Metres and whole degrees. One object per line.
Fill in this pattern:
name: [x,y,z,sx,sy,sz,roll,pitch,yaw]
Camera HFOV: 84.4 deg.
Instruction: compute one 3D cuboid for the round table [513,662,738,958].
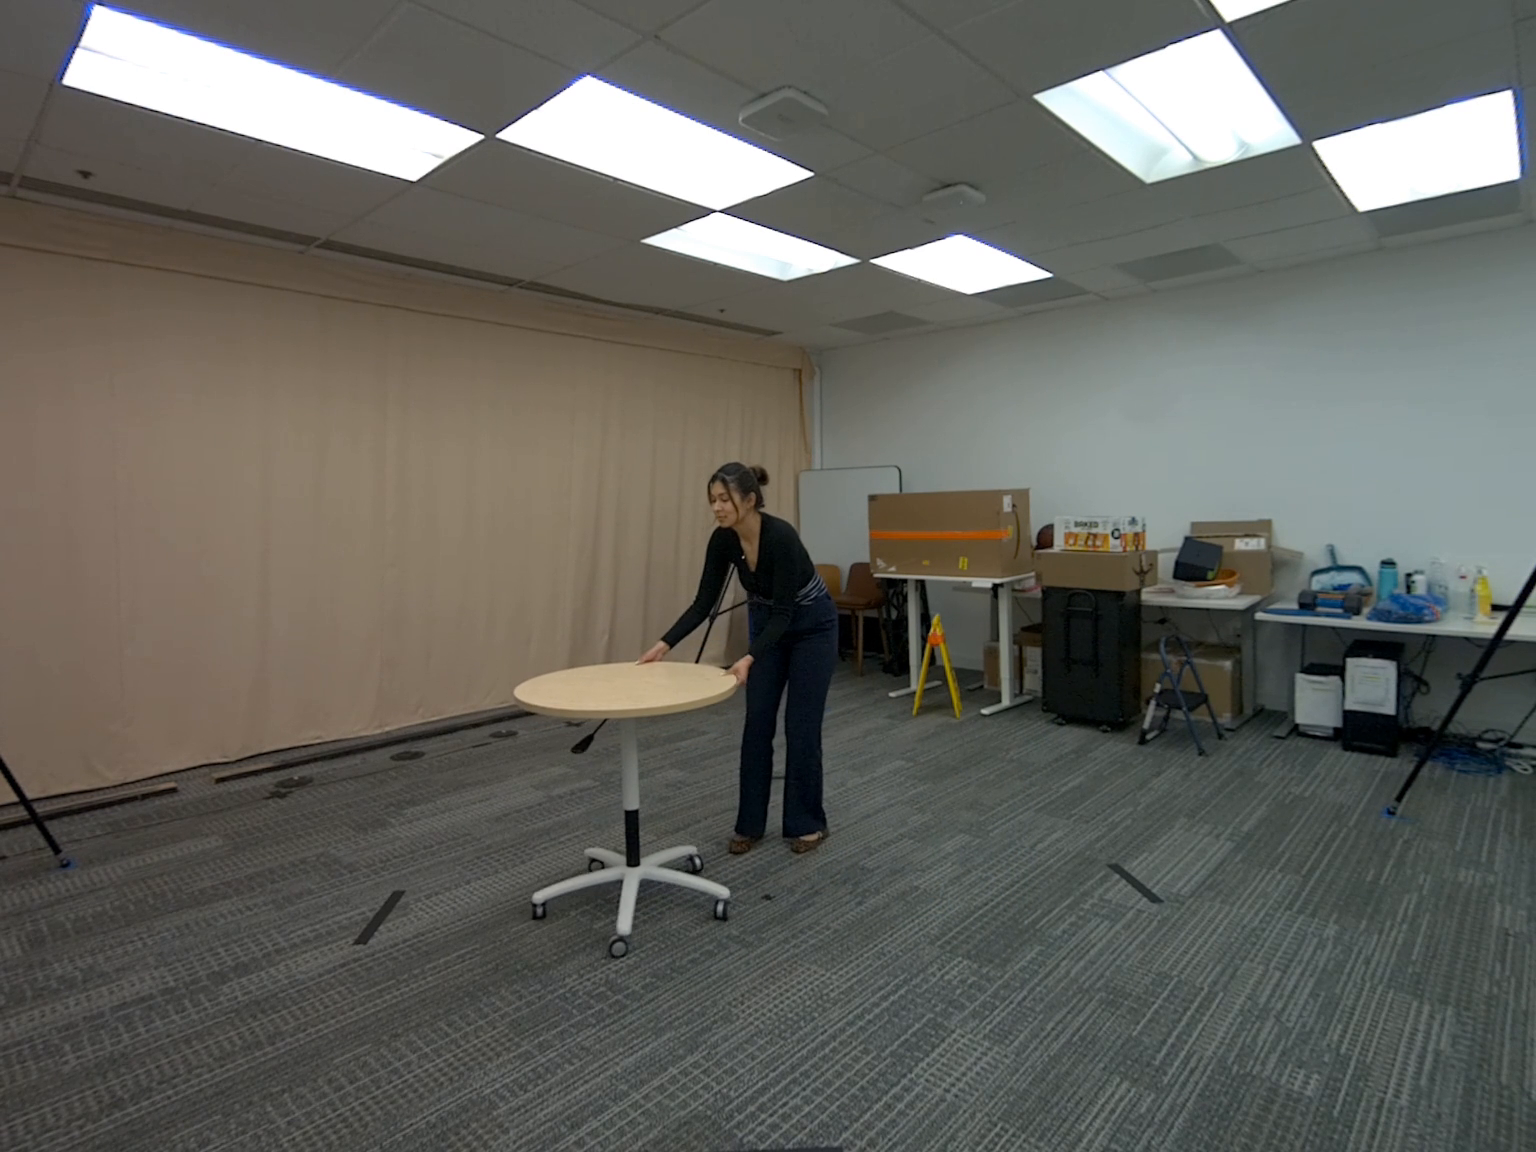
round table: [-0.475,0.765,2.938,0.763,0.792,0.766,-2,3,-2]
